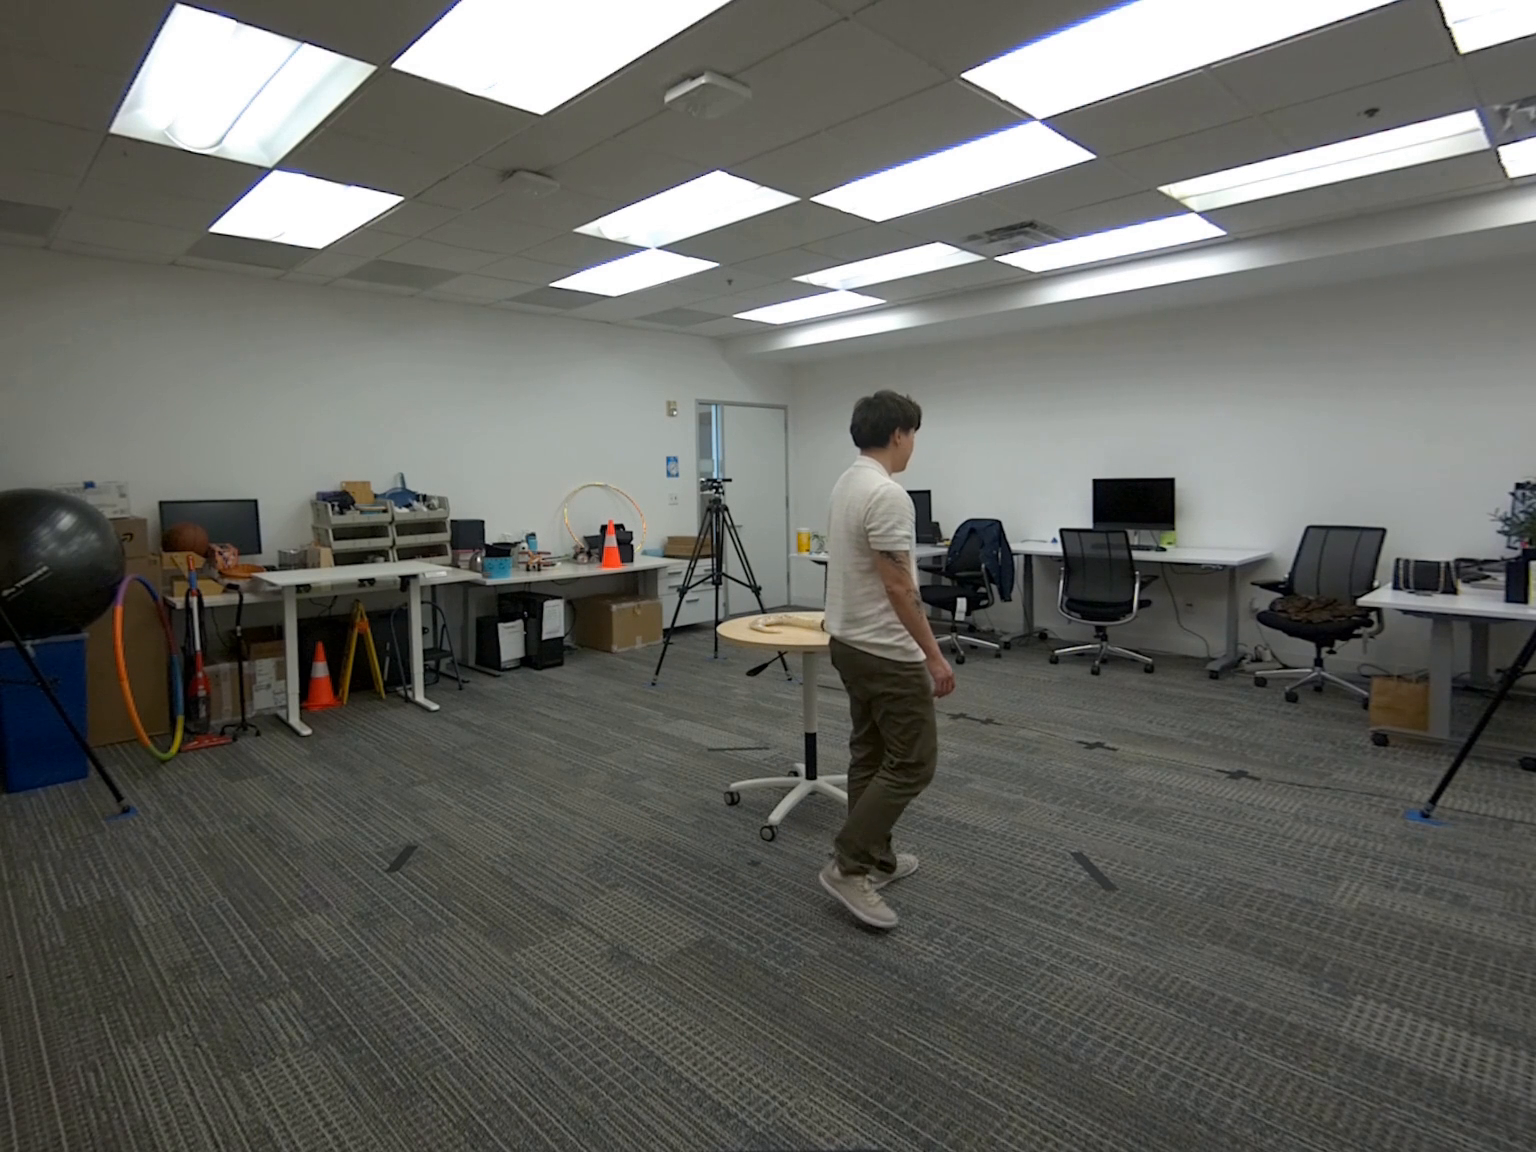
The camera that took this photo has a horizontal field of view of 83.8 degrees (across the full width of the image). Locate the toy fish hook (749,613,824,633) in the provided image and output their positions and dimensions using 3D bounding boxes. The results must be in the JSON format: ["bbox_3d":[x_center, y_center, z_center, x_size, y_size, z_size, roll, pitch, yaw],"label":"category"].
[{"bbox_3d":[0.161,0.212,3.437,0.521,0.048,0.221,3,16,36],"label":"toy fish hook"}]
